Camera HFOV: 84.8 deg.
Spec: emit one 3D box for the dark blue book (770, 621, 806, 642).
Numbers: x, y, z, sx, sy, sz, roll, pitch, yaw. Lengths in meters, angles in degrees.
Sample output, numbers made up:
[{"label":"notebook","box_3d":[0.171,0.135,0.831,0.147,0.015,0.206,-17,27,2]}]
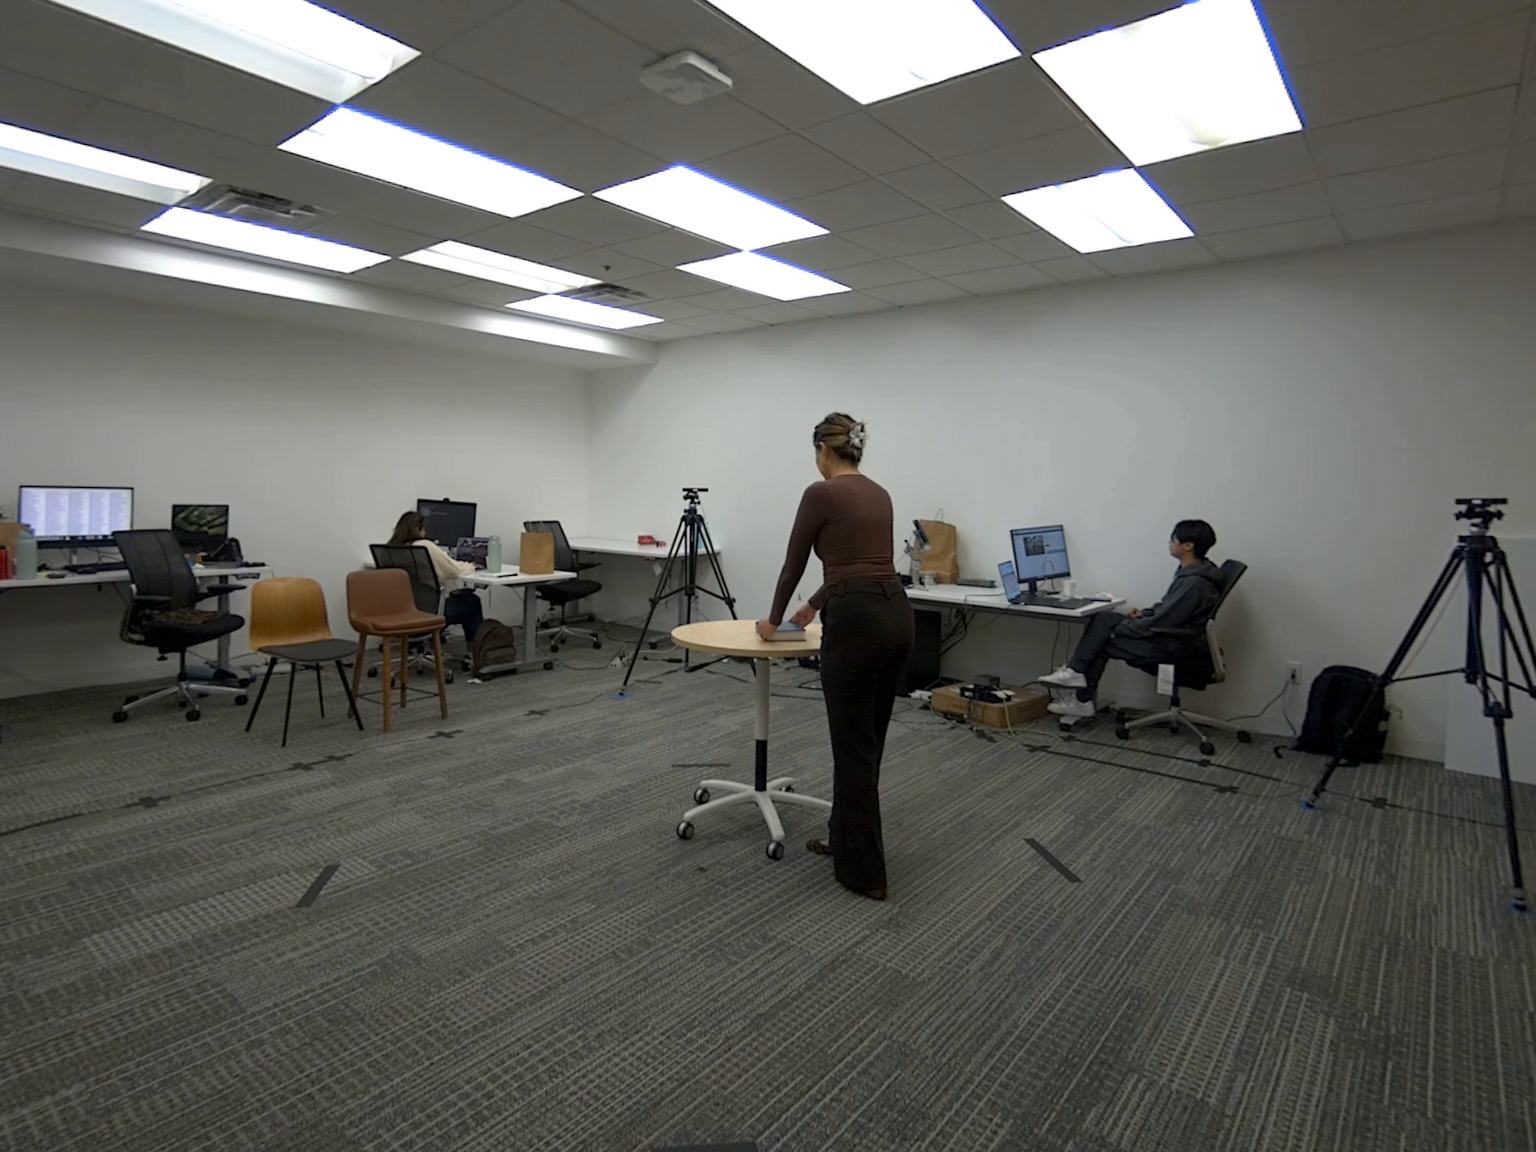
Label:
[{"label":"dark blue book","box_3d":[0.042,0.222,3.469,0.162,0.045,0.248,0,6,-8]}]
